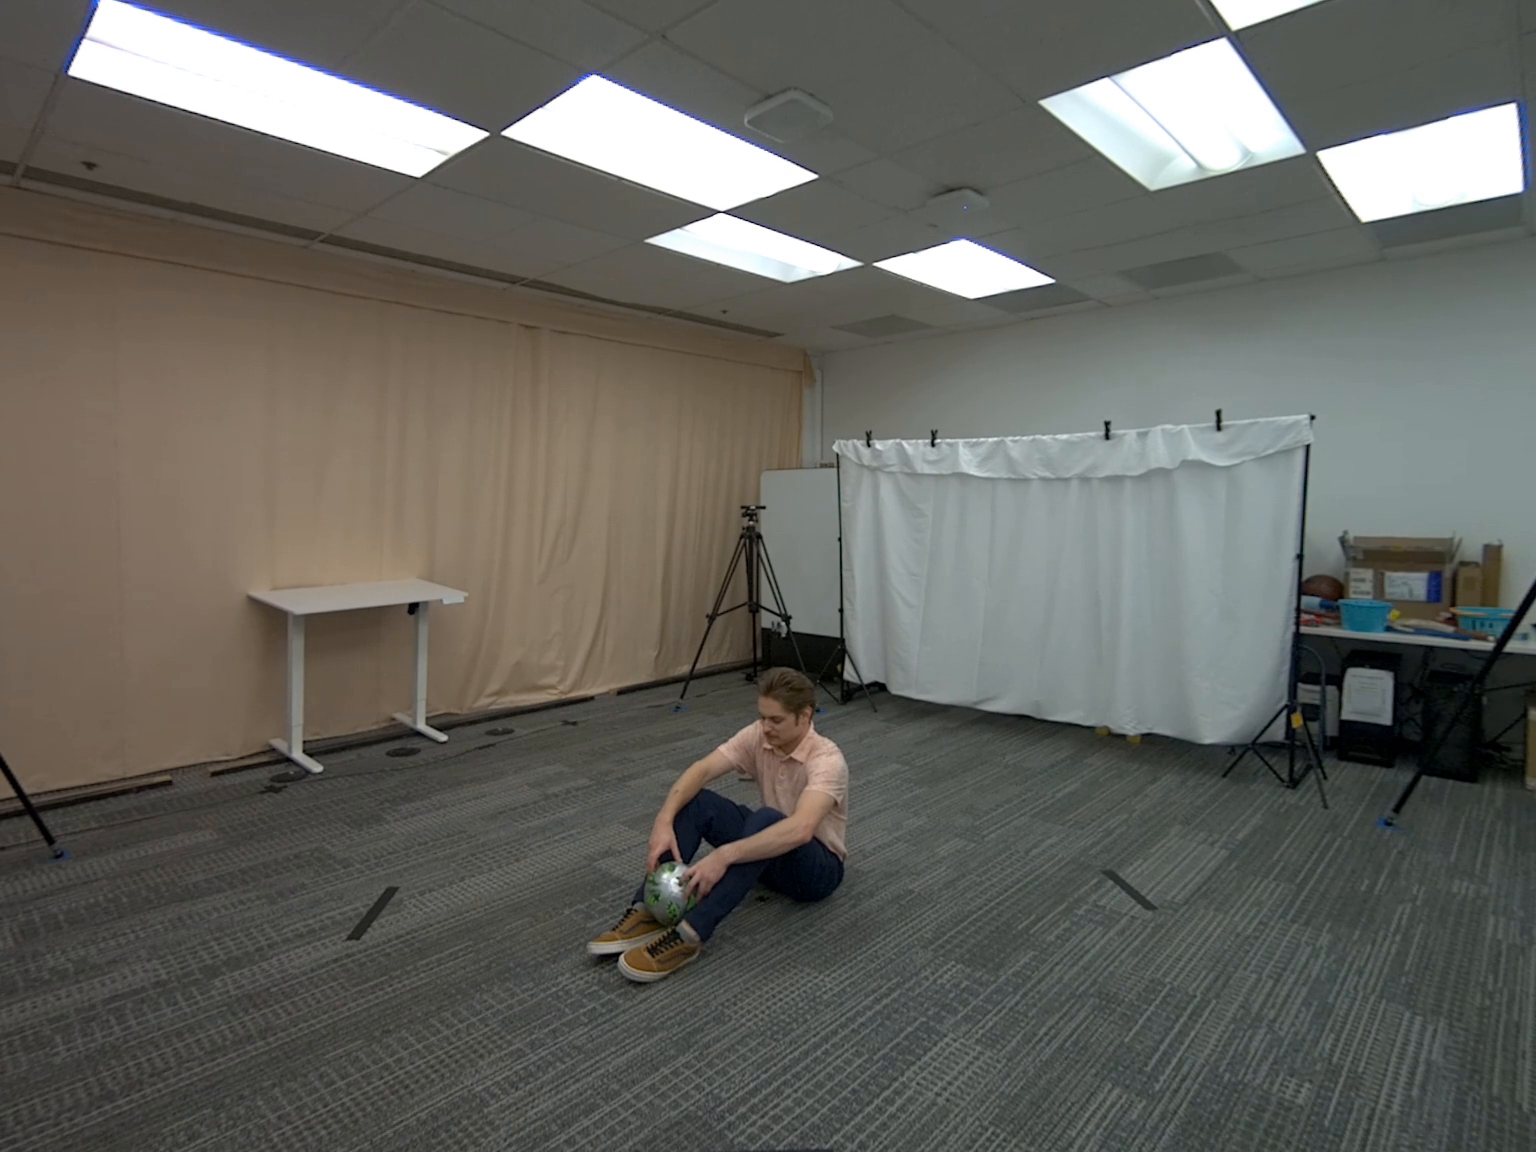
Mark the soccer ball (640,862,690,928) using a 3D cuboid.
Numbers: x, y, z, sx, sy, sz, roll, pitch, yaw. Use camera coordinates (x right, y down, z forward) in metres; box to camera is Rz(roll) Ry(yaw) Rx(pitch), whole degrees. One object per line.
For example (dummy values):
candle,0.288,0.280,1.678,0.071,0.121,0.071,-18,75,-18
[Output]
soccer ball,-0.297,1.001,2.663,0.187,0.187,0.188,0,4,-2
